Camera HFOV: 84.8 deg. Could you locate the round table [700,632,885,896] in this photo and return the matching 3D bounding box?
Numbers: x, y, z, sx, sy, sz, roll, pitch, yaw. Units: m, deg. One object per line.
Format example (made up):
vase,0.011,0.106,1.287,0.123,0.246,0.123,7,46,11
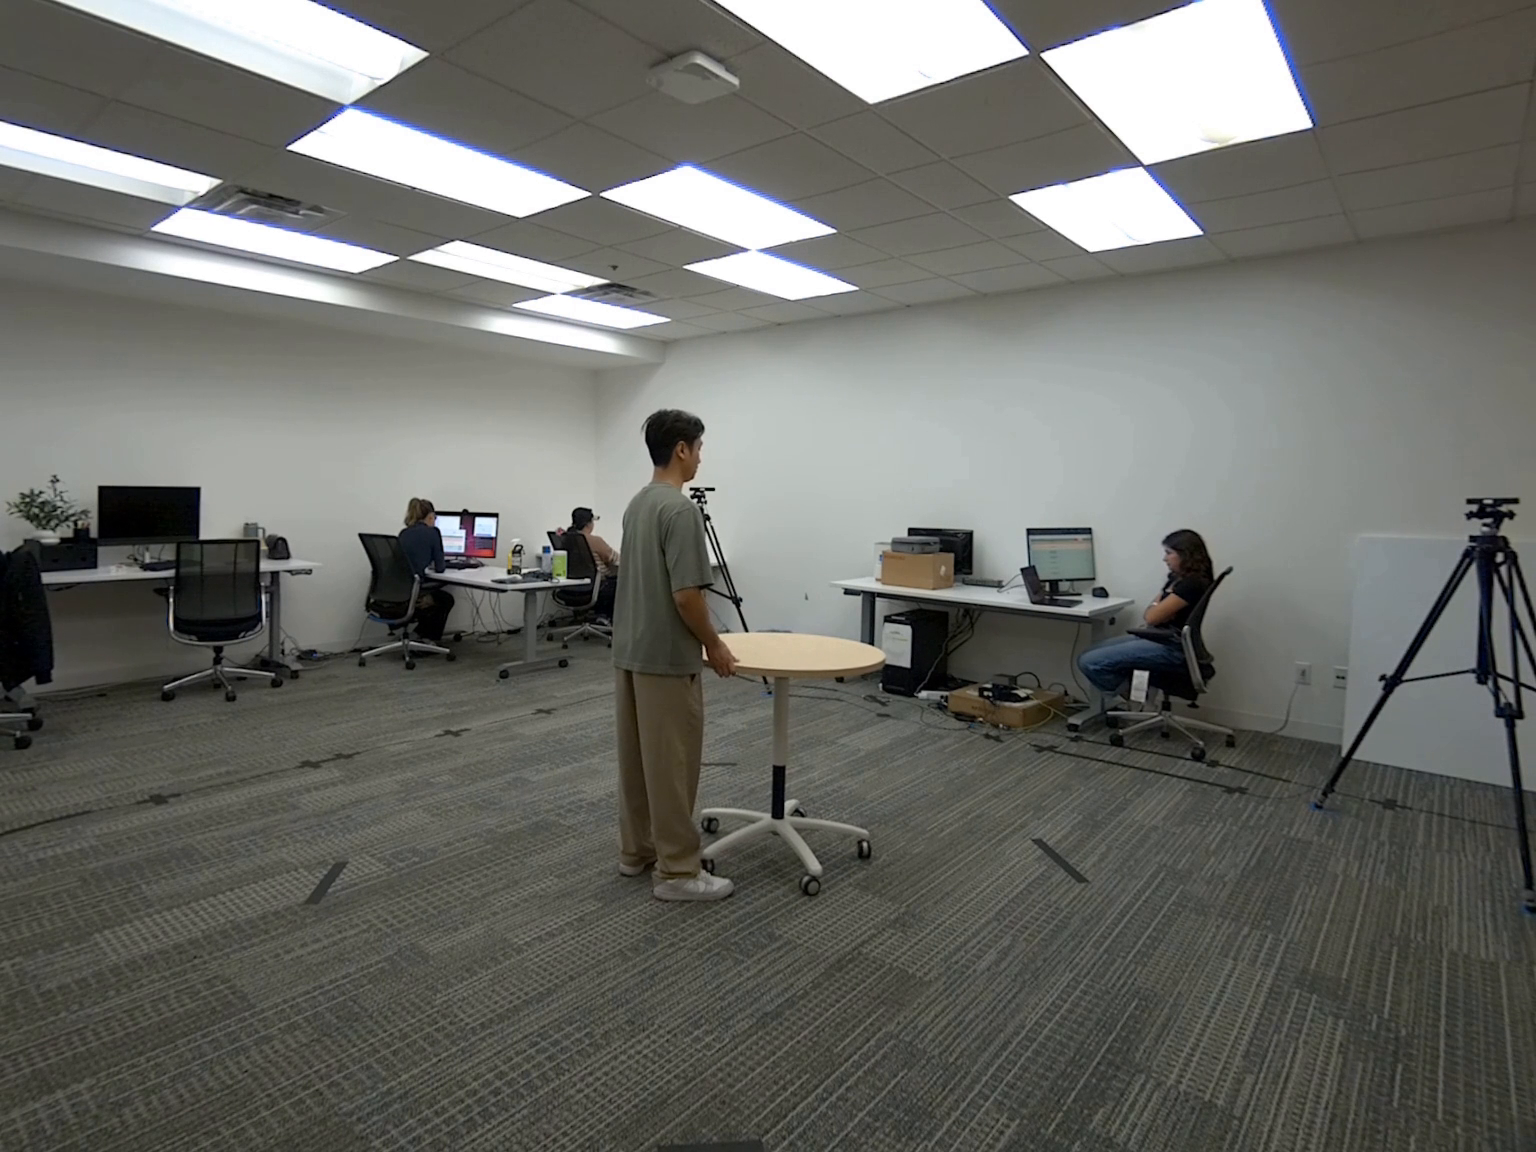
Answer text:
round table,0.025,0.666,3.228,0.784,0.784,0.788,1,4,-2
